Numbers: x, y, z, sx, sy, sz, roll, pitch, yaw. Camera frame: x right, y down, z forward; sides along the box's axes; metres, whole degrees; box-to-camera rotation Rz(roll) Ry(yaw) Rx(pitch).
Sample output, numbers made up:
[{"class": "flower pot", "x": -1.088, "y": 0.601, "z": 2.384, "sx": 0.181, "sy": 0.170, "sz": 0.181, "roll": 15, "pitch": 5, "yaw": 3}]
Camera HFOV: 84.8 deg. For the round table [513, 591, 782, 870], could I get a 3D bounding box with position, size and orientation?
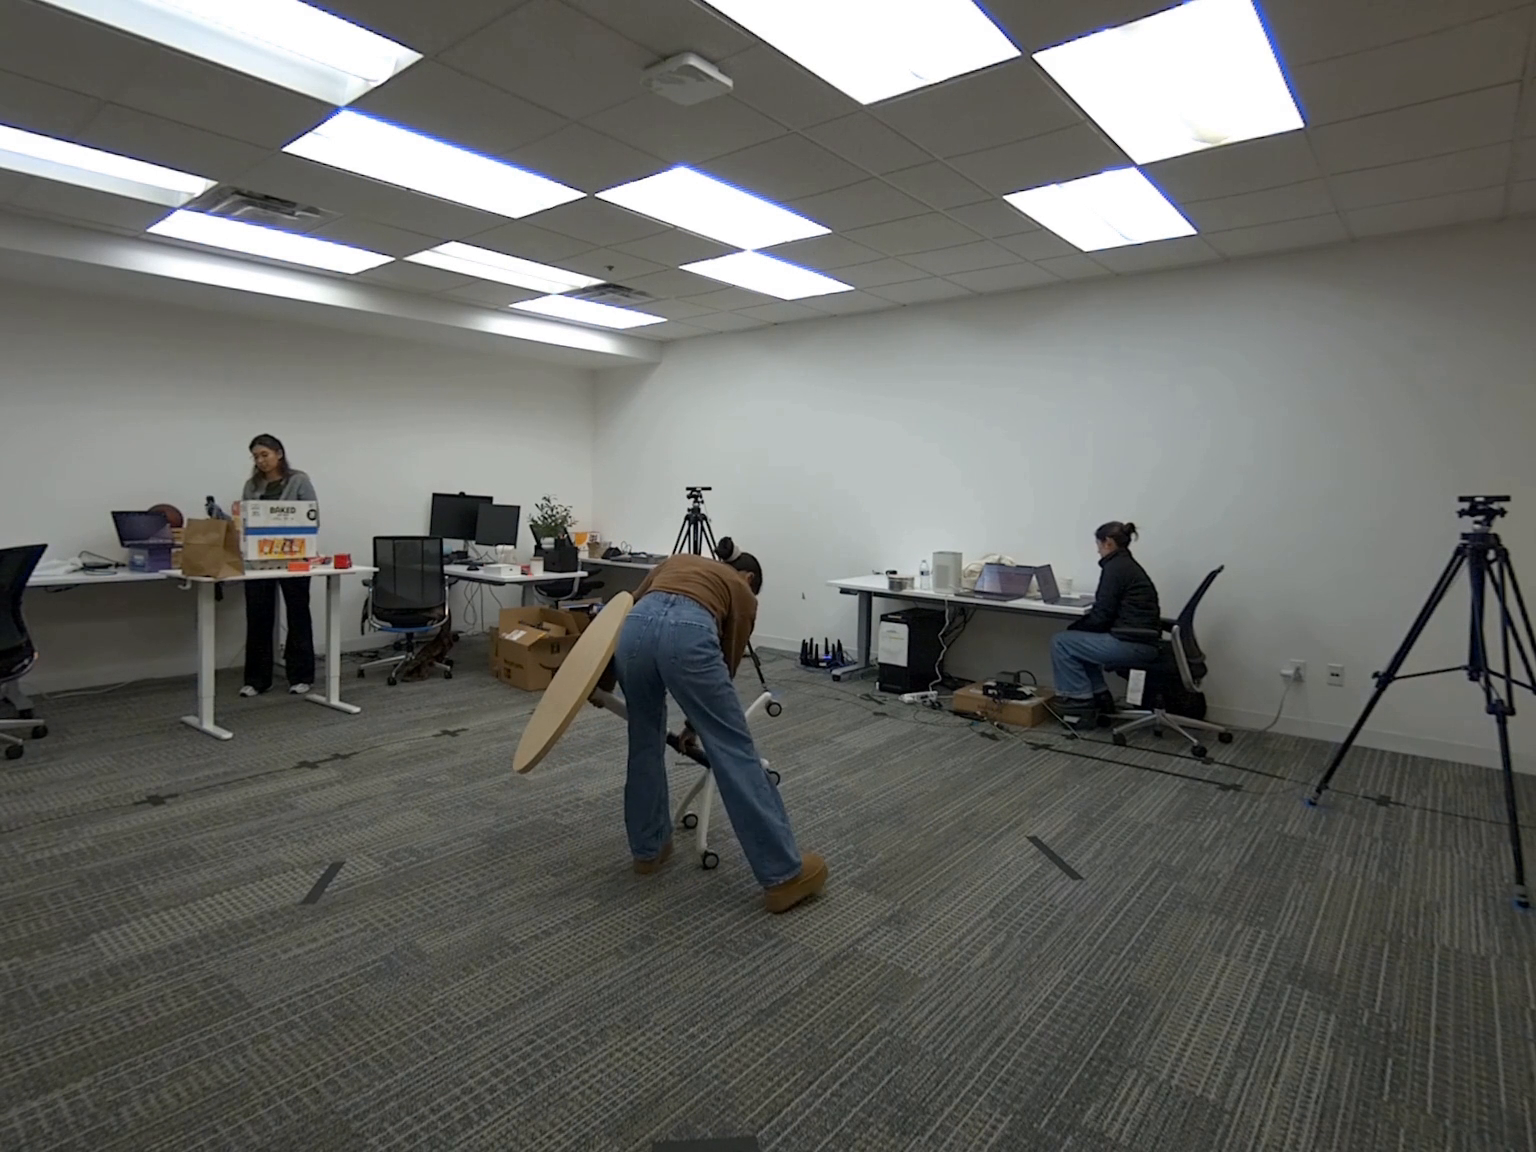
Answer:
[{"class": "round table", "x": -0.432, "y": 0.594, "z": 3.278, "sx": 0.780, "sy": 0.764, "sz": 0.777, "roll": 35, "pitch": -4, "yaw": -14}]
